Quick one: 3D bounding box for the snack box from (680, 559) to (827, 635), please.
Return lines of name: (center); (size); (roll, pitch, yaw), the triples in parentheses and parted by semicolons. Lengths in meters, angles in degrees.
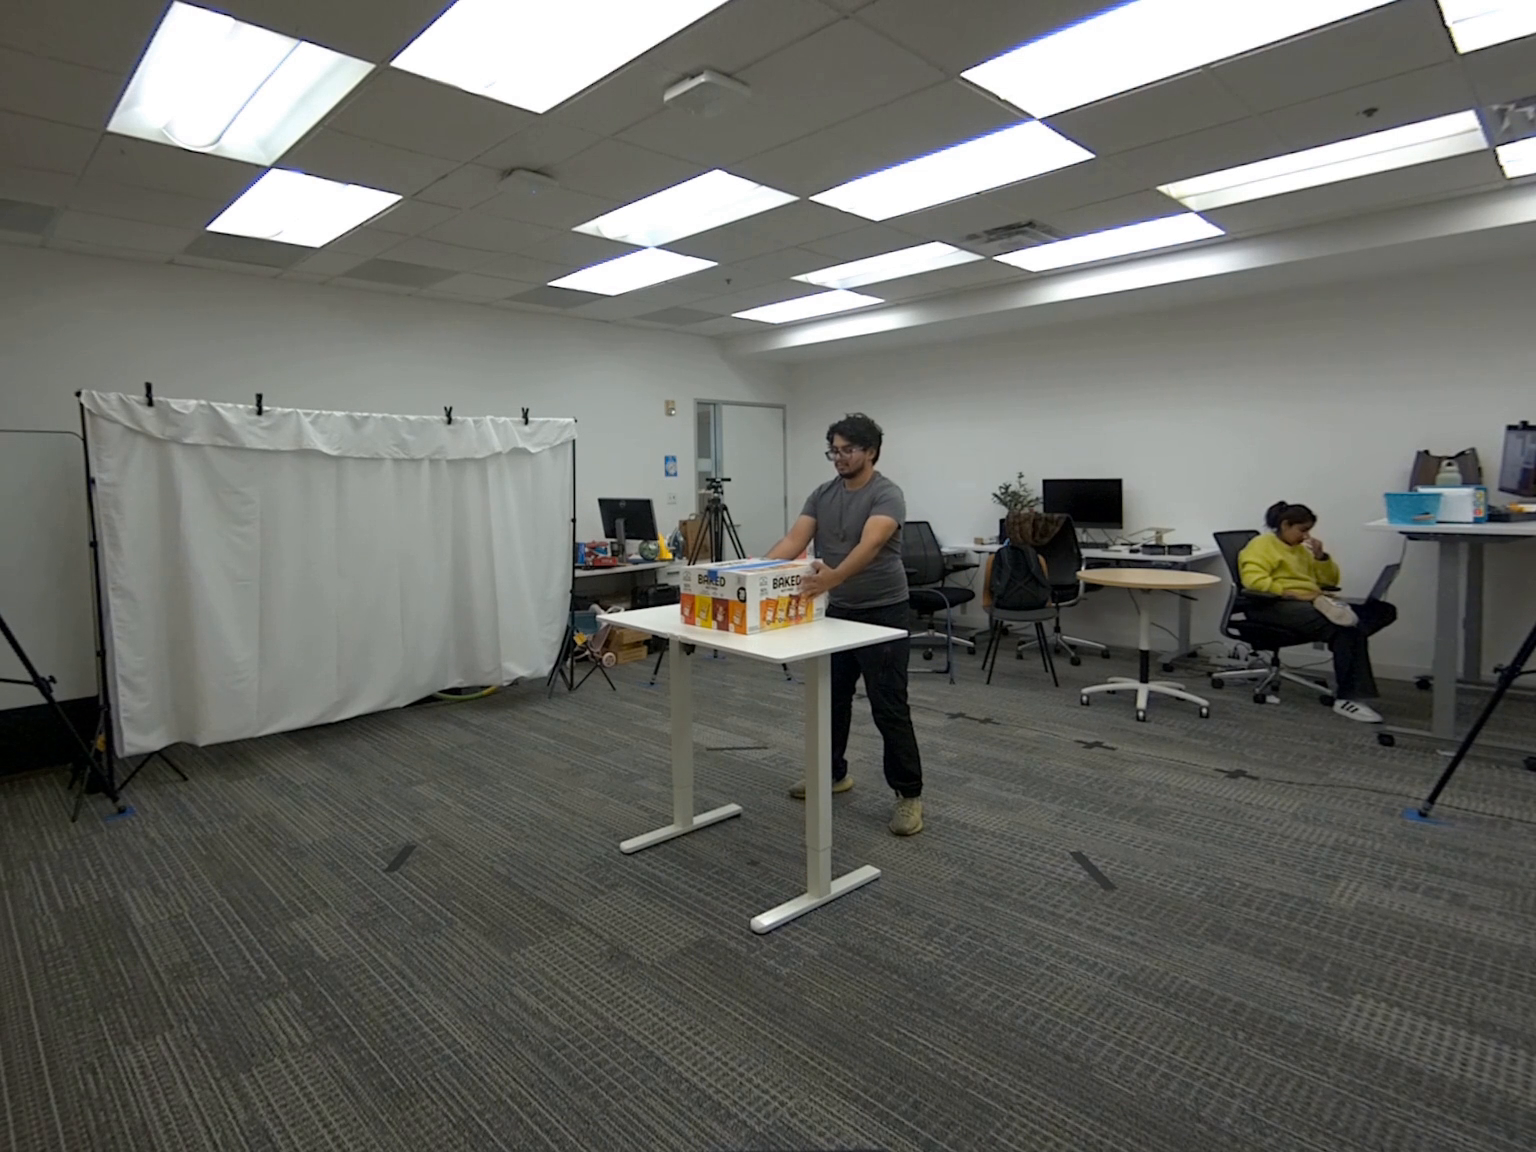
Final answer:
snack box: (-0.054, 0.063, 3.067); (0.351, 0.204, 0.395); (6, 9, 44)
